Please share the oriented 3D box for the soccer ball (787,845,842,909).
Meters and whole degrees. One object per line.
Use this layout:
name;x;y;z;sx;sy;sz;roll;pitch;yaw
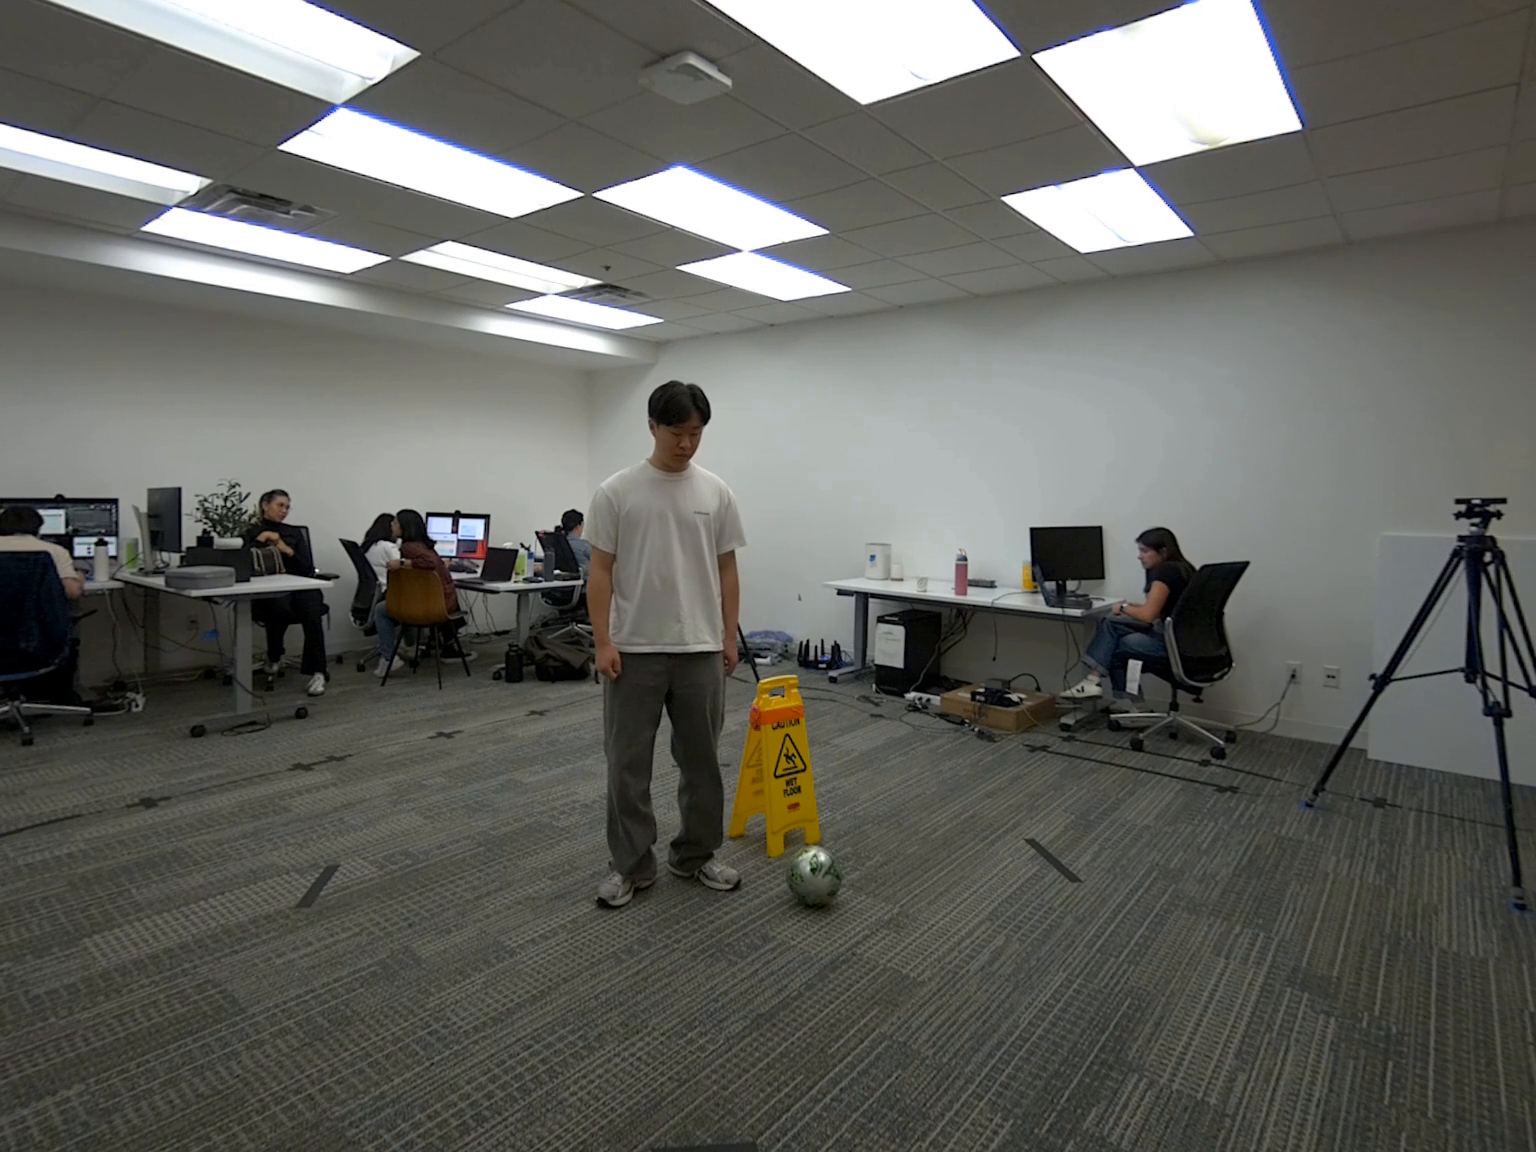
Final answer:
soccer ball;0.147;1.017;2.883;0.187;0.187;0.188;1;4;-2
